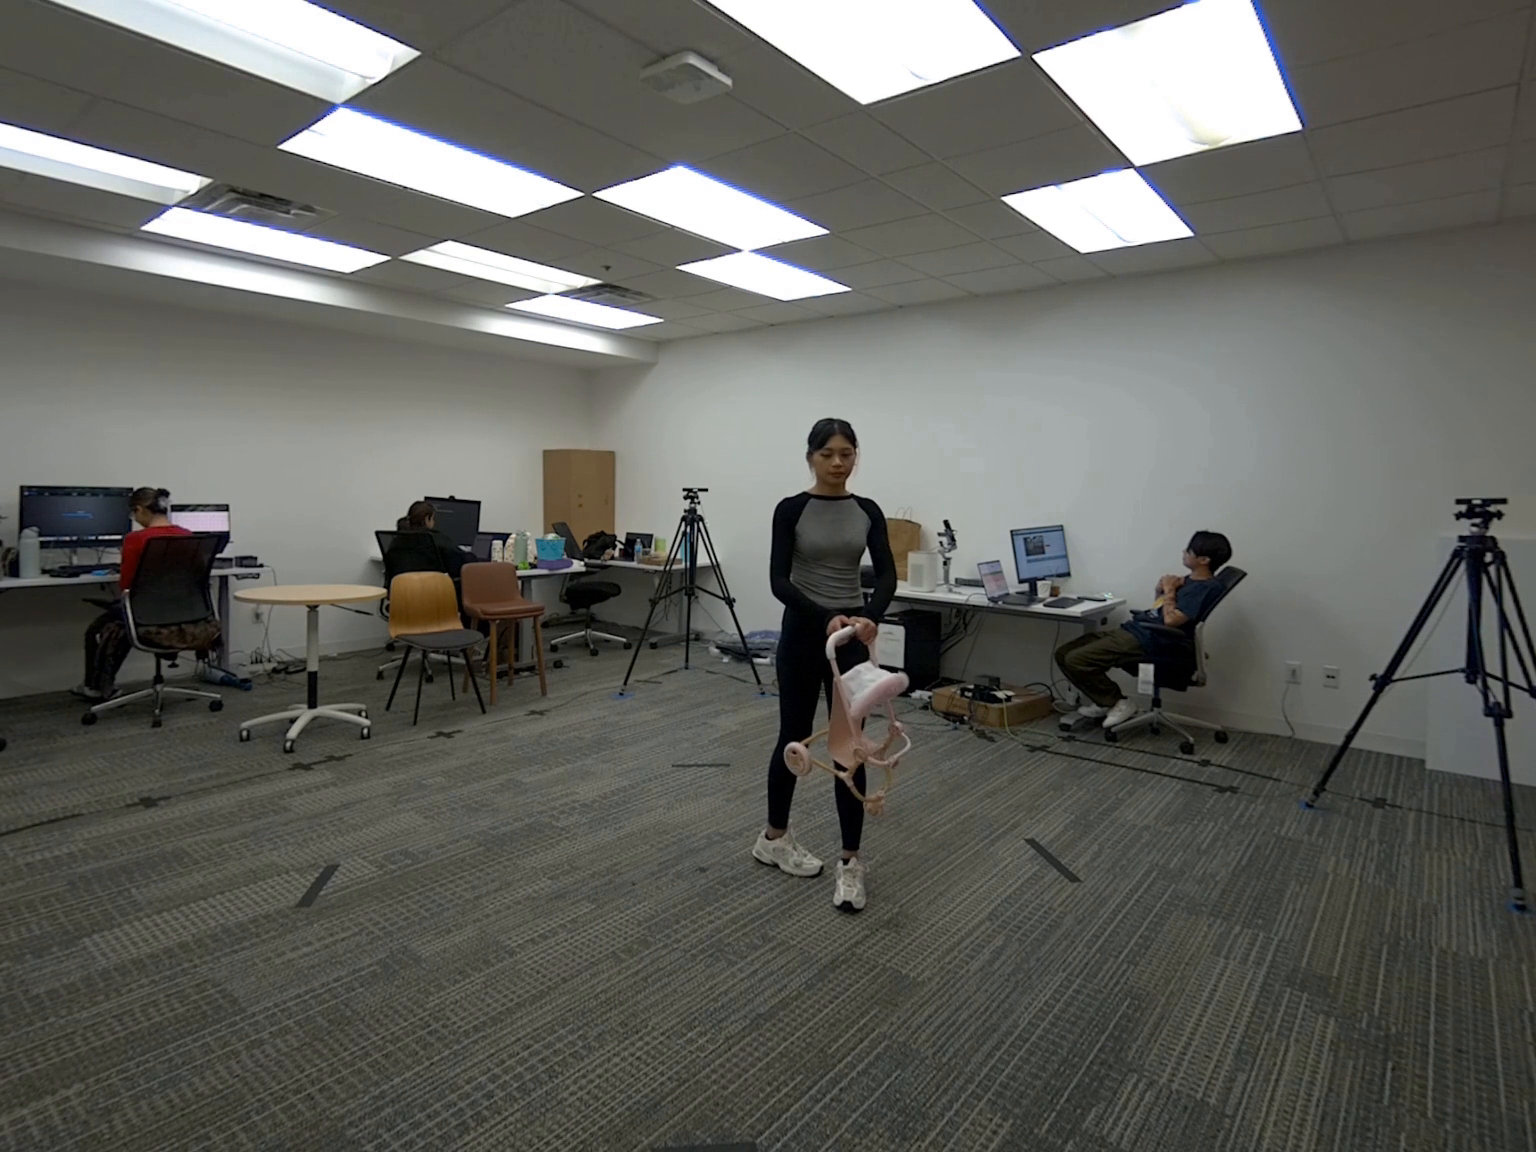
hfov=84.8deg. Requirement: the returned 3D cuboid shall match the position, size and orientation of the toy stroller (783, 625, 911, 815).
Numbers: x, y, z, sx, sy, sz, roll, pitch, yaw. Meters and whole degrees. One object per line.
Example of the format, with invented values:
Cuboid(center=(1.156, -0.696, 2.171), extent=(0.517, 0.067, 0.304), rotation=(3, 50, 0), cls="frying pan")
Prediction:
Cuboid(center=(0.281, 0.467, 2.647), extent=(0.275, 0.526, 0.355), rotation=(-14, 38, -42), cls="toy stroller")
